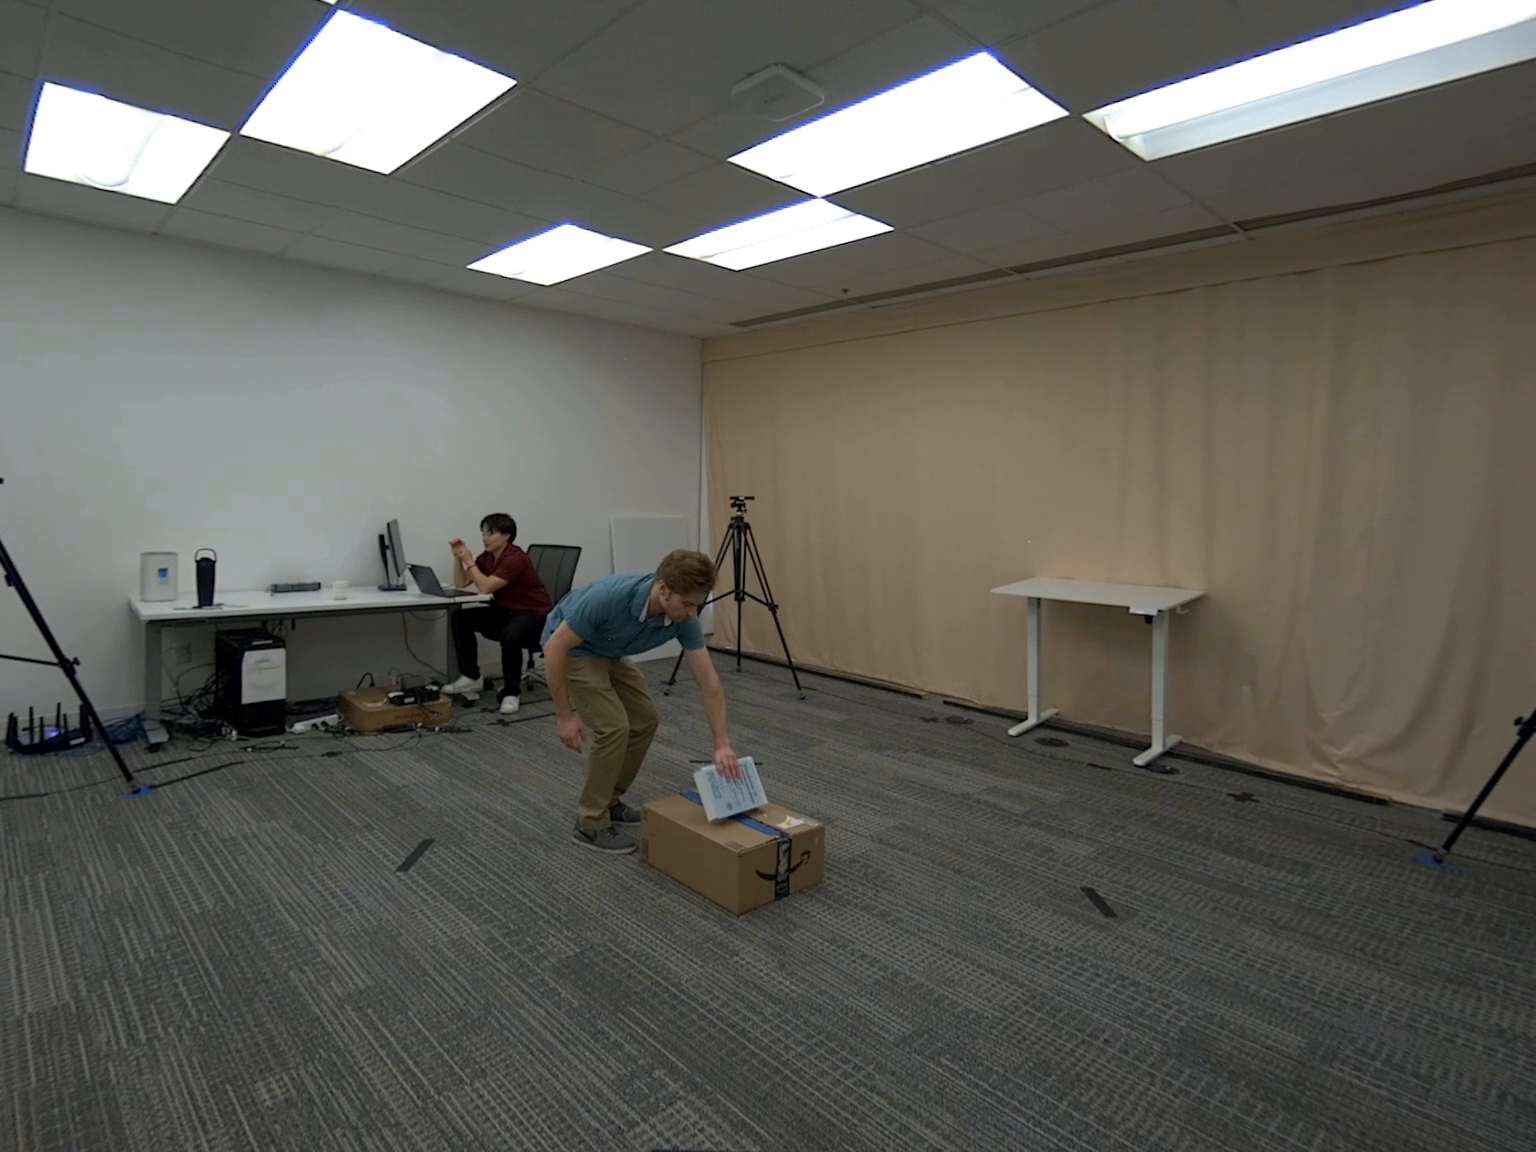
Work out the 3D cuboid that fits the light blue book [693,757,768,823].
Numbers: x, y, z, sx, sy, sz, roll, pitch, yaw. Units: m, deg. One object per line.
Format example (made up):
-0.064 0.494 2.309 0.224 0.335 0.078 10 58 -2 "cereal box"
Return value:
-0.153 0.792 3.127 0.255 0.195 0.059 1 -31 -48 "light blue book"
